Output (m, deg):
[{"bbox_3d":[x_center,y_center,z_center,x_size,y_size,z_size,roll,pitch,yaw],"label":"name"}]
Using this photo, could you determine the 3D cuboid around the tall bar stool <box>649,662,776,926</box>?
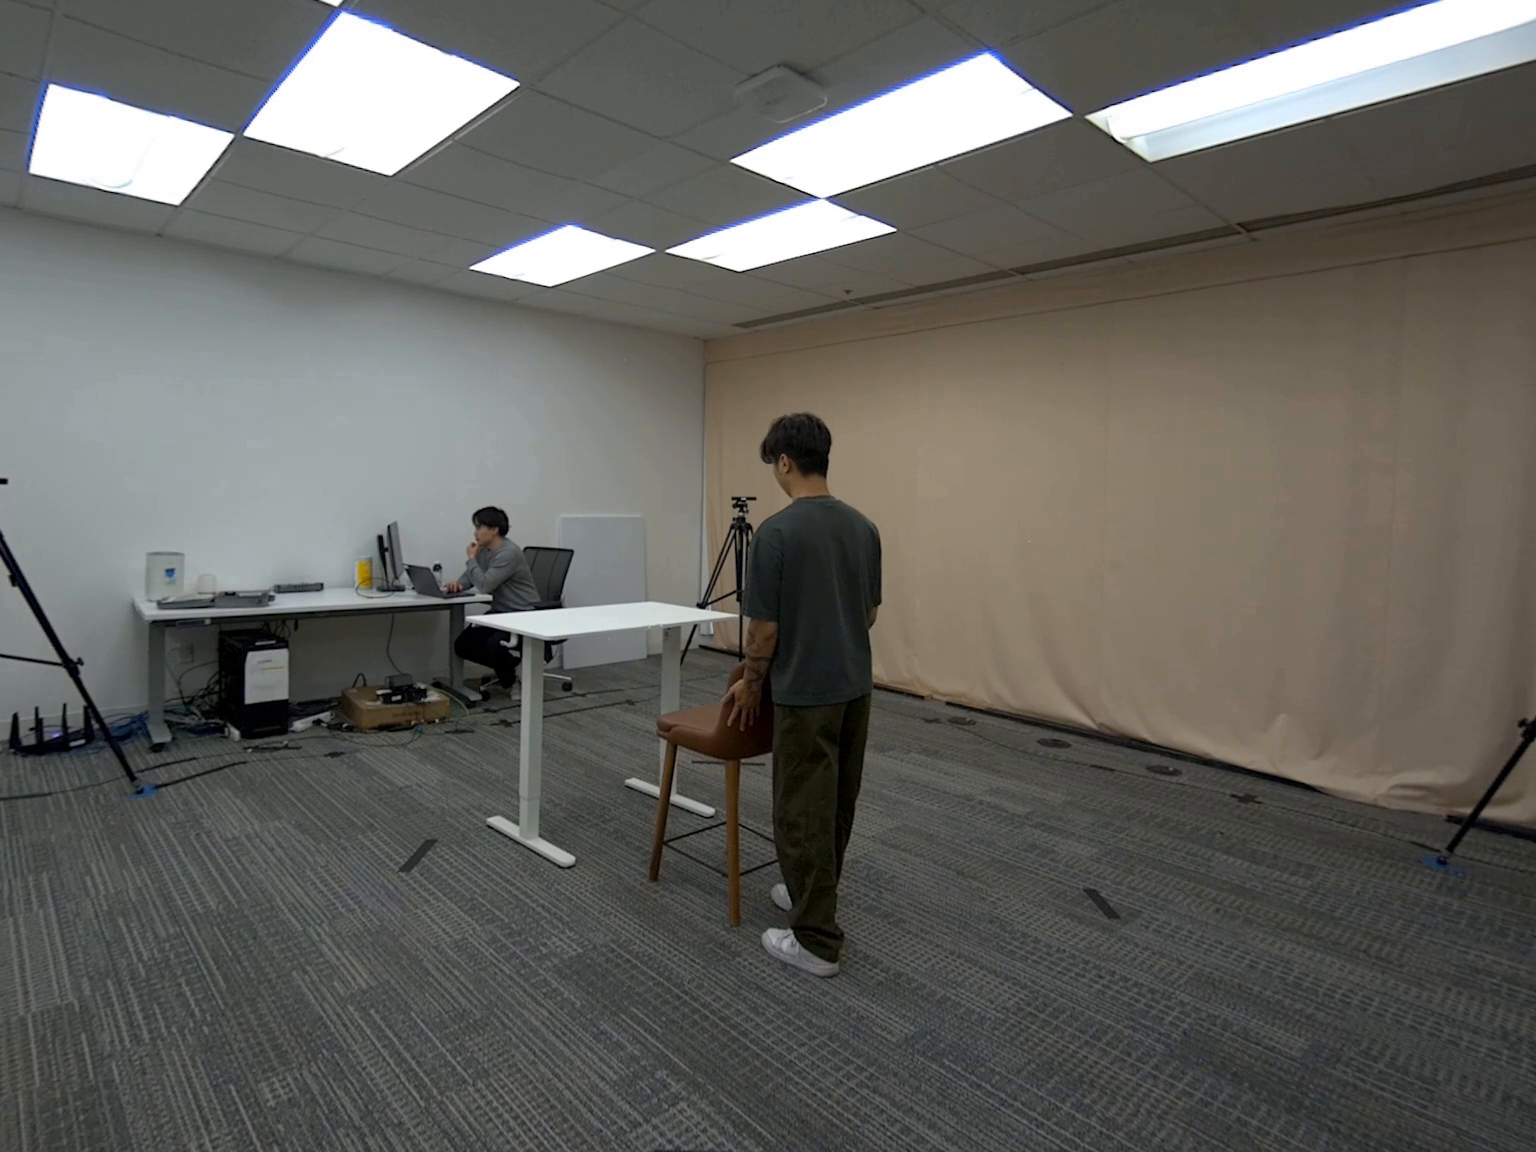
[{"bbox_3d":[-0.124,0.682,2.995,0.446,0.887,0.480,-1,6,-44],"label":"tall bar stool"}]
